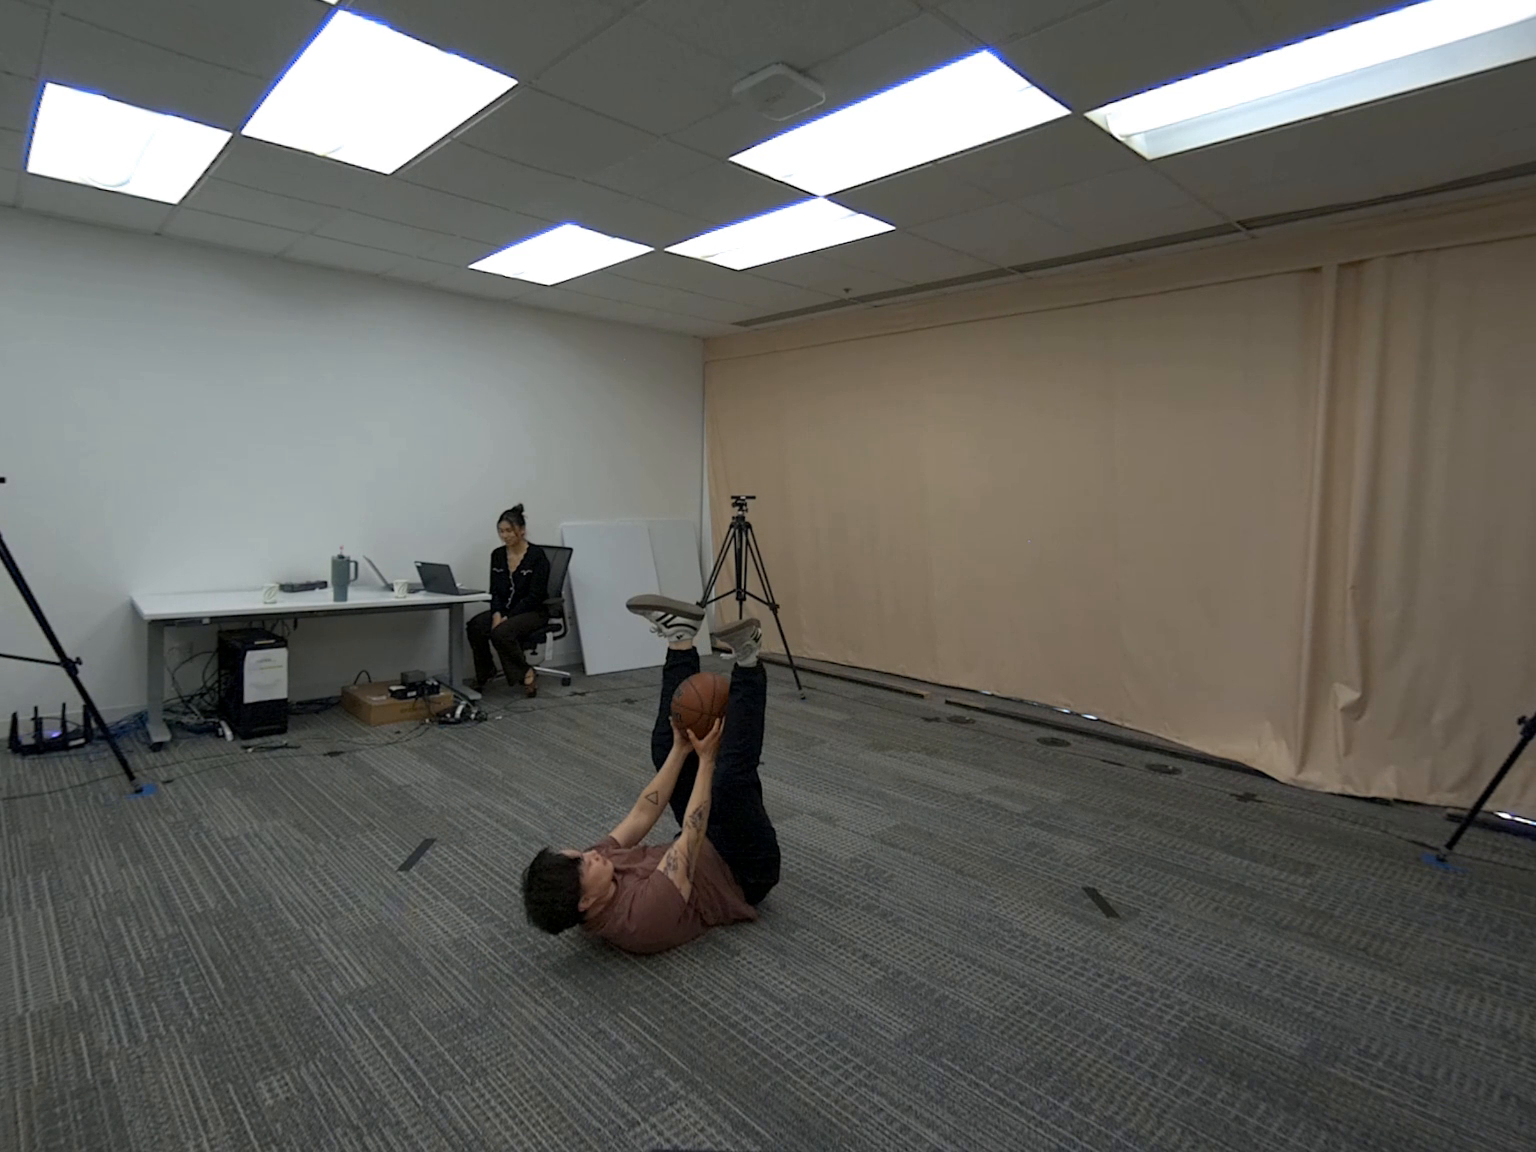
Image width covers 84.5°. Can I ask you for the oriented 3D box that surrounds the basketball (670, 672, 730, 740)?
[{"bbox_3d":[-0.215,0.445,2.841,0.236,0.235,0.237,2,4,-2],"label":"basketball"}]
